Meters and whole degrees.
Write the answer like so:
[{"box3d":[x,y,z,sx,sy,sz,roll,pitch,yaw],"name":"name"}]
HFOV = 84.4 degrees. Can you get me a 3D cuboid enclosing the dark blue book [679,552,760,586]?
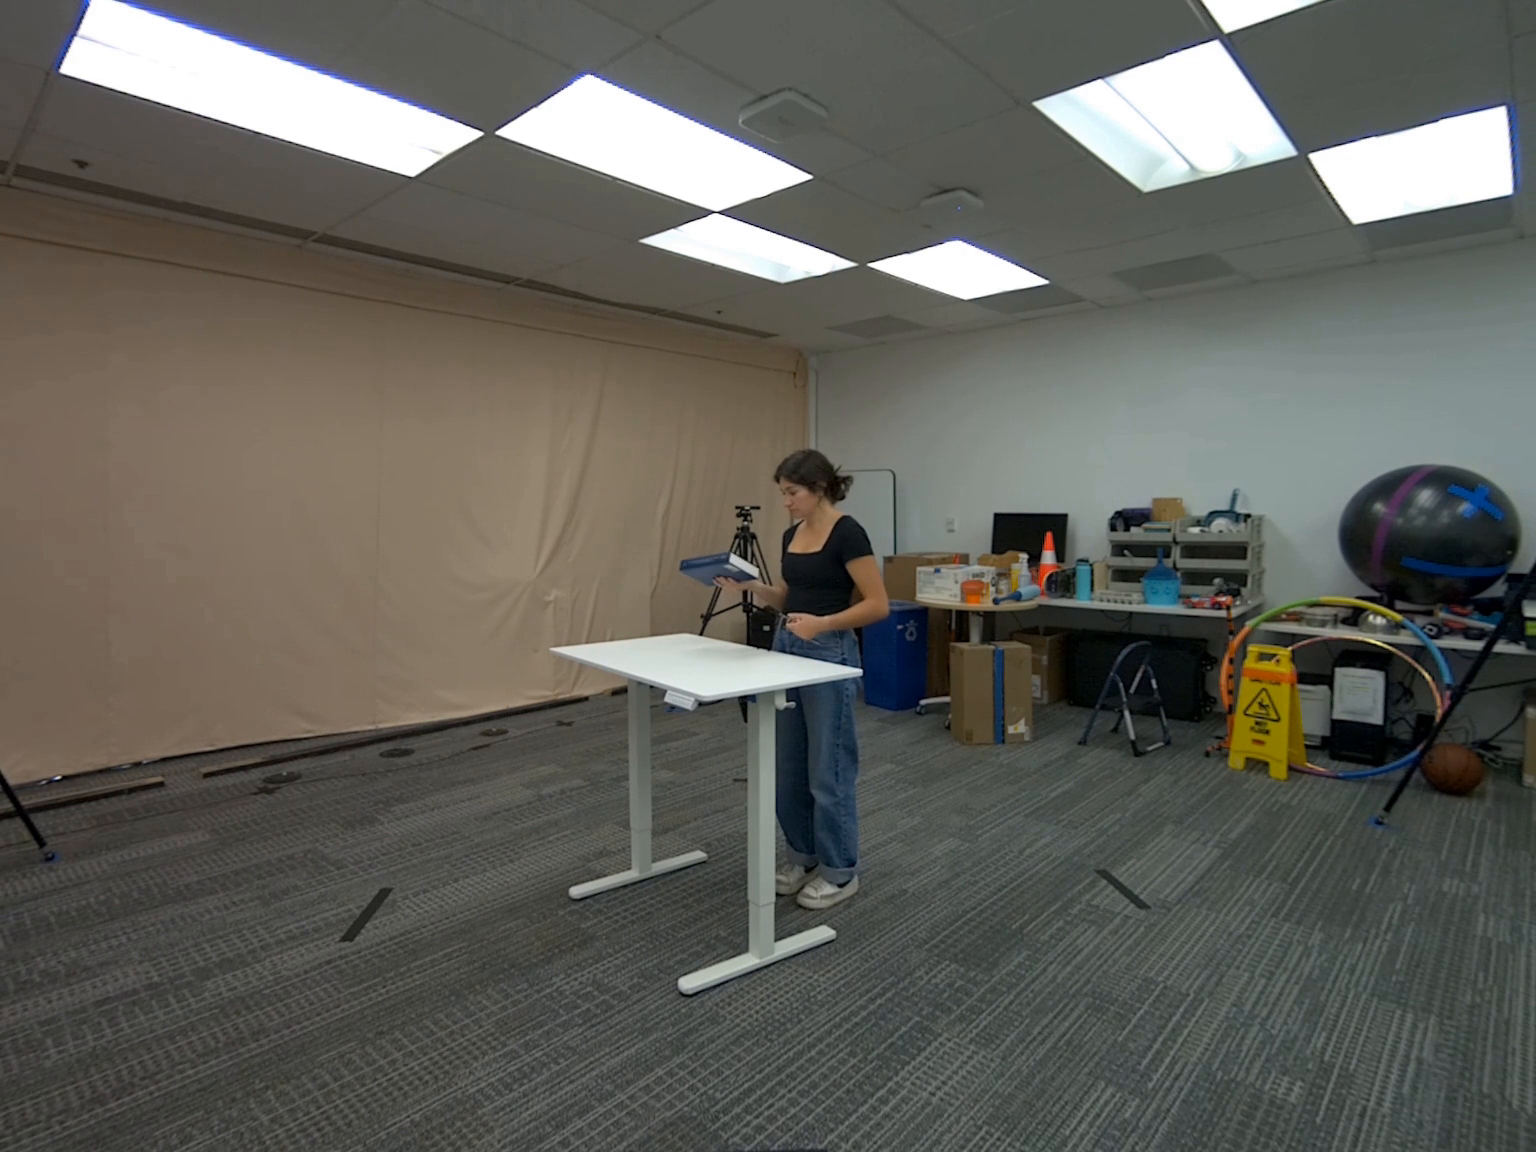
[{"box3d":[-0.179,-0.023,3.006,0.252,0.045,0.157,-9,-27,40],"name":"dark blue book"}]
